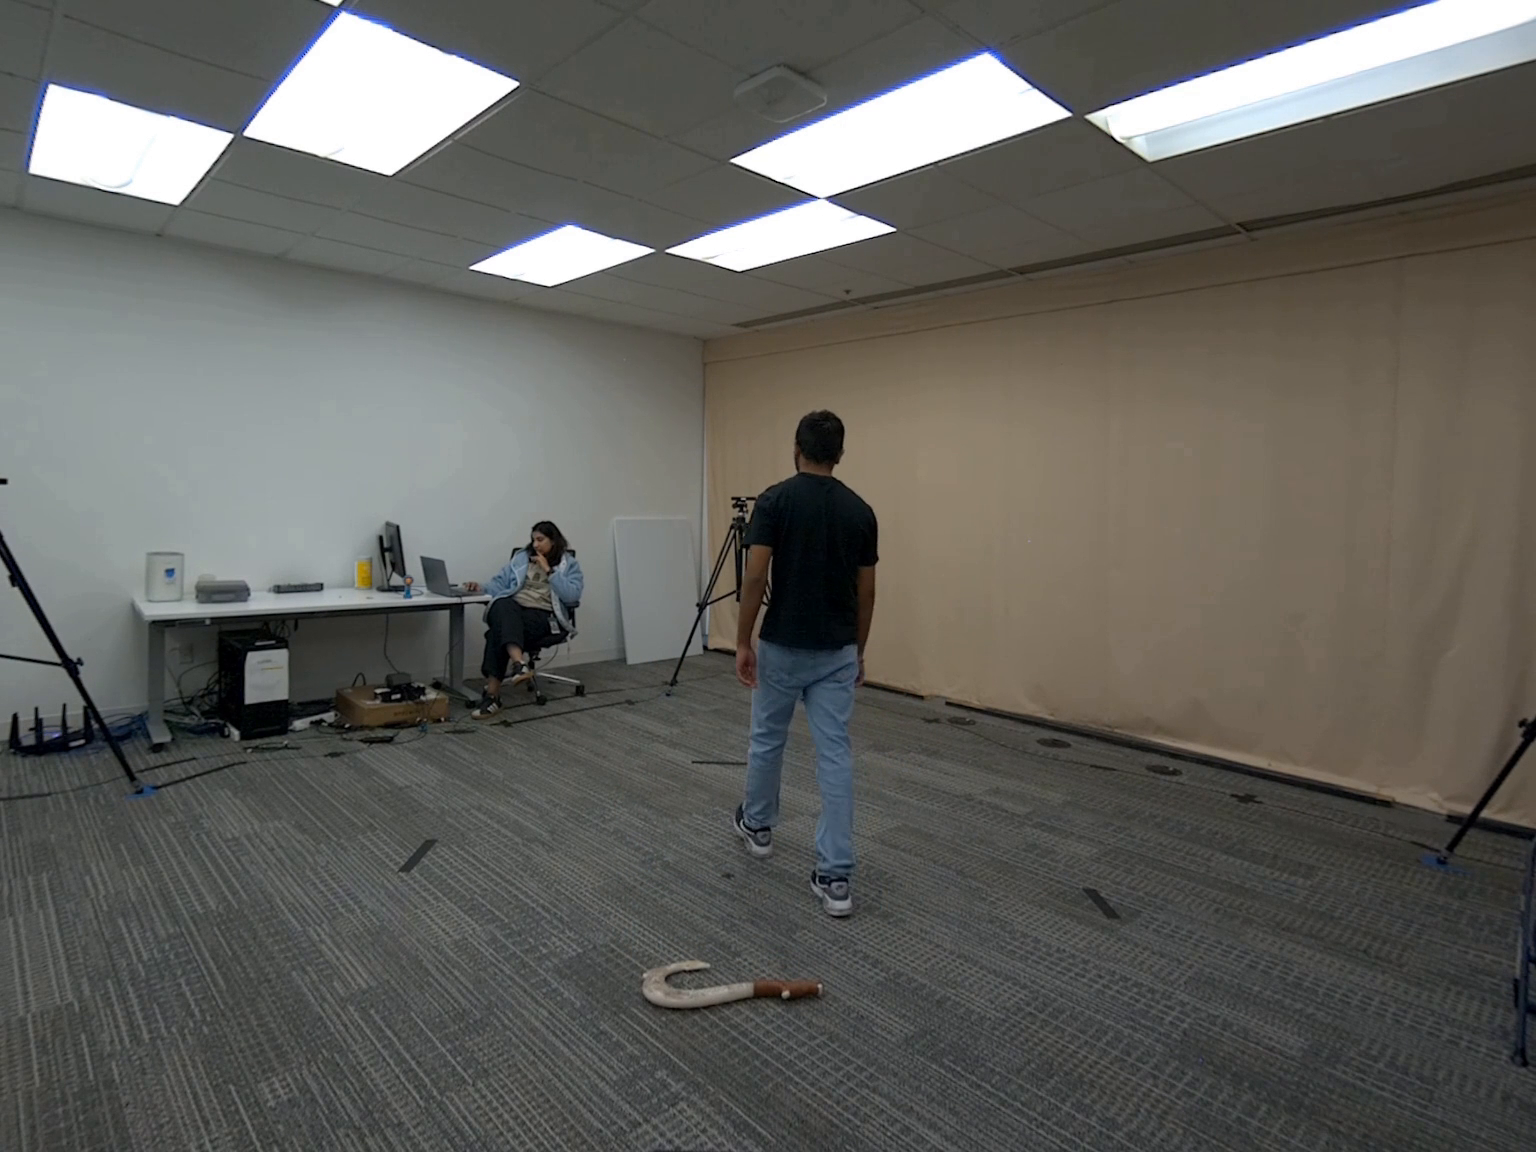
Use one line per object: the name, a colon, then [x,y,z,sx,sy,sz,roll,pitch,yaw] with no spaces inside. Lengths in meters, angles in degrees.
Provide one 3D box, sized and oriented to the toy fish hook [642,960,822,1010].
toy fish hook: [-0.104,1.150,2.387,0.505,0.048,0.226,1,6,-5]
